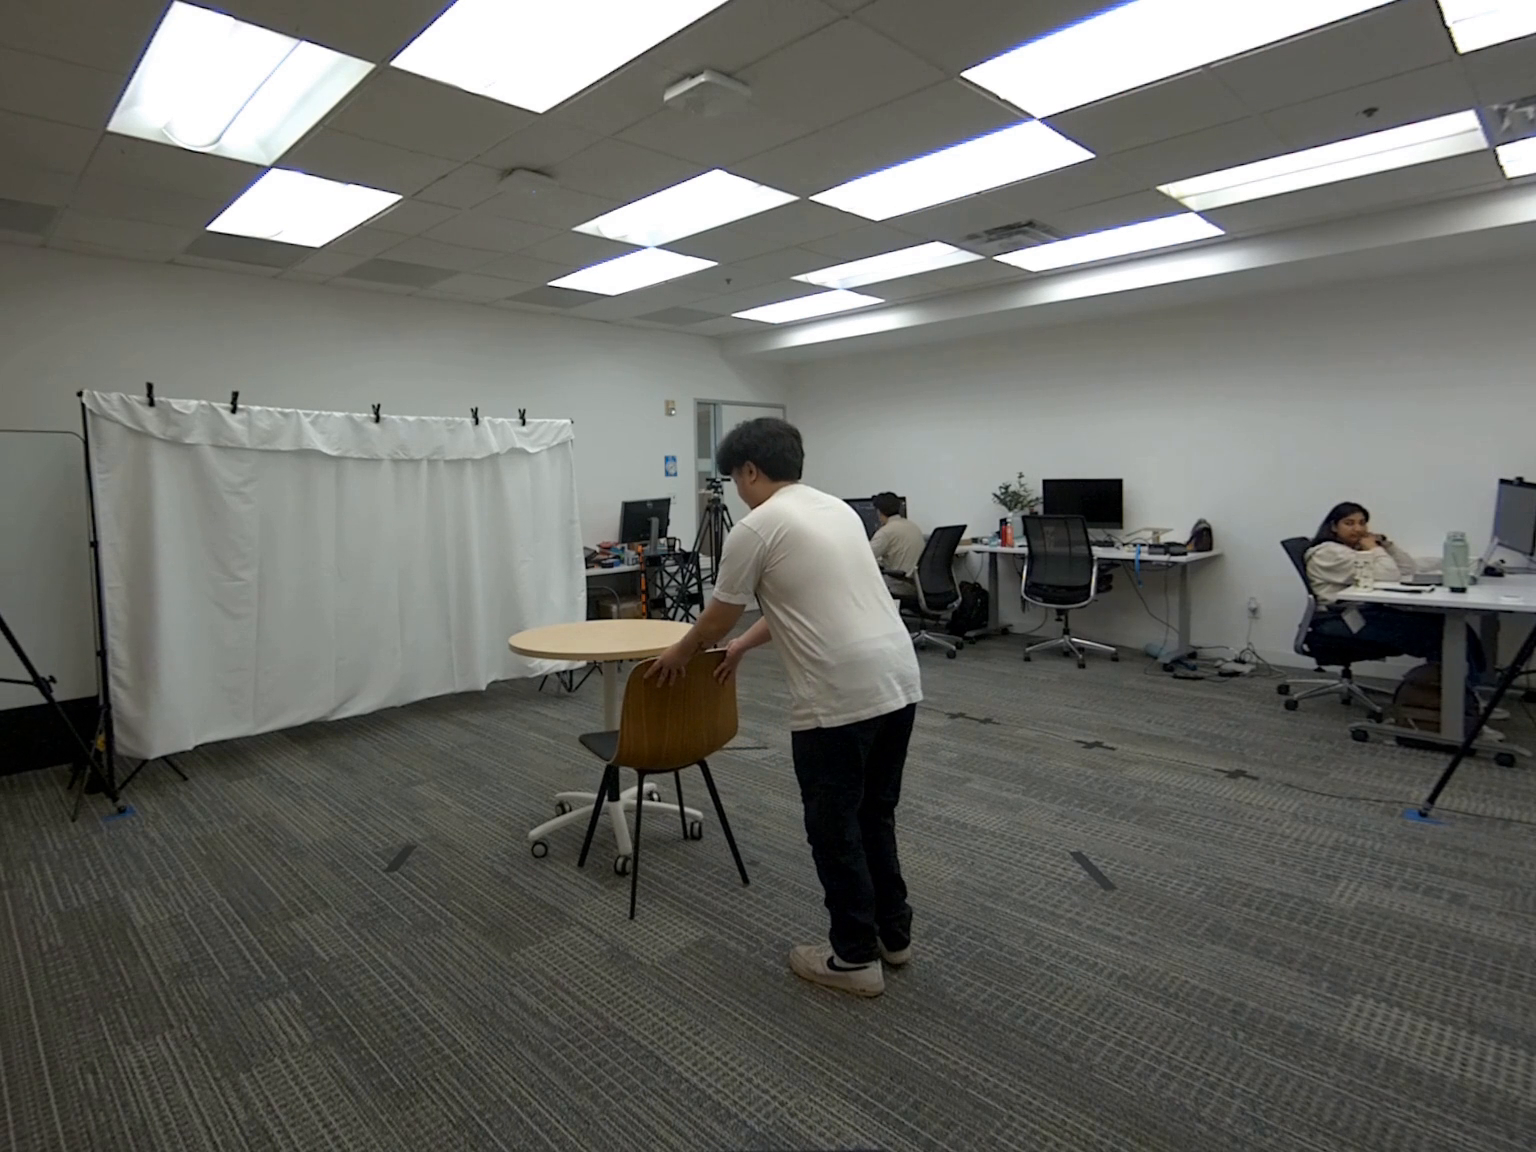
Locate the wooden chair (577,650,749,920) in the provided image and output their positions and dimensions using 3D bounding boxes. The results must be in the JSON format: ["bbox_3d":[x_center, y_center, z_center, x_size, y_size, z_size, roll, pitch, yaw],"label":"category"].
[{"bbox_3d":[-0.381,0.630,2.996,0.467,0.871,0.540,-4,10,-32],"label":"wooden chair"}]
